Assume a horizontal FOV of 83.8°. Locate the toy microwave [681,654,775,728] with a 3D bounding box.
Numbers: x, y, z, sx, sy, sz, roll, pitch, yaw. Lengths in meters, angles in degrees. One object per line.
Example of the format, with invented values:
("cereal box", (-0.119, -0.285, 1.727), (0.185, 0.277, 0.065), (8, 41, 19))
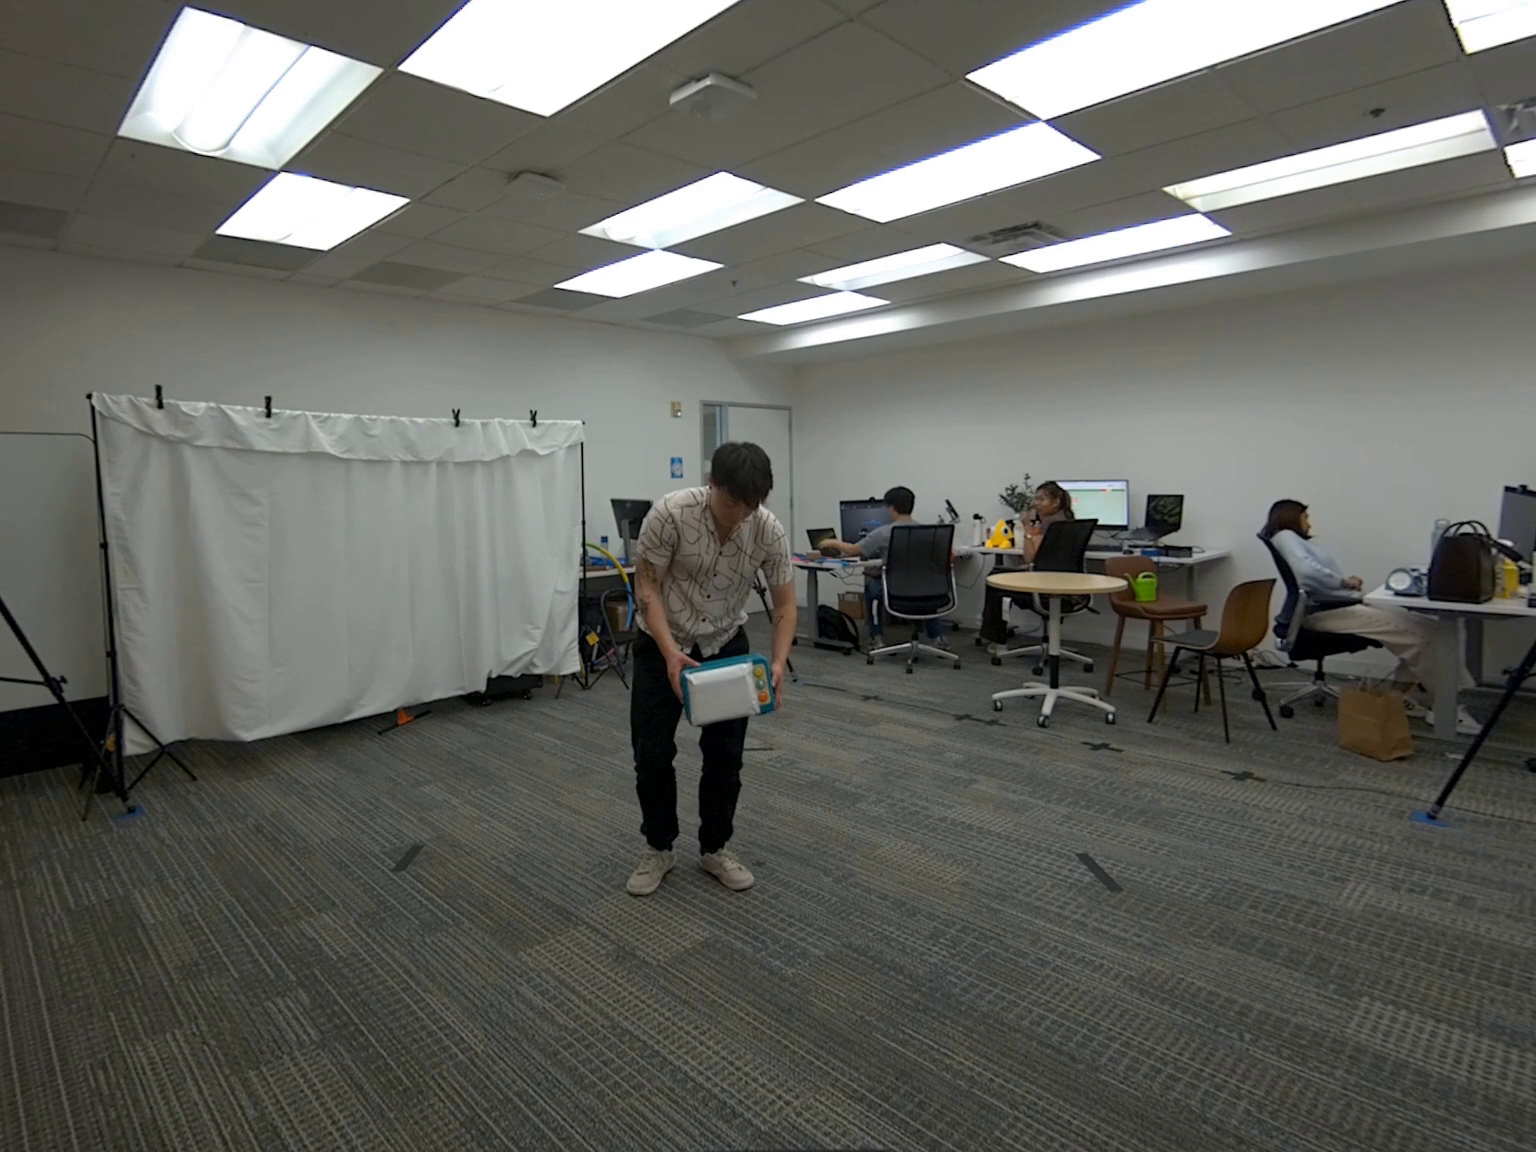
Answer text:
("toy microwave", (-0.139, 0.367, 2.710), (0.284, 0.184, 0.153), (-10, 1, -8))
